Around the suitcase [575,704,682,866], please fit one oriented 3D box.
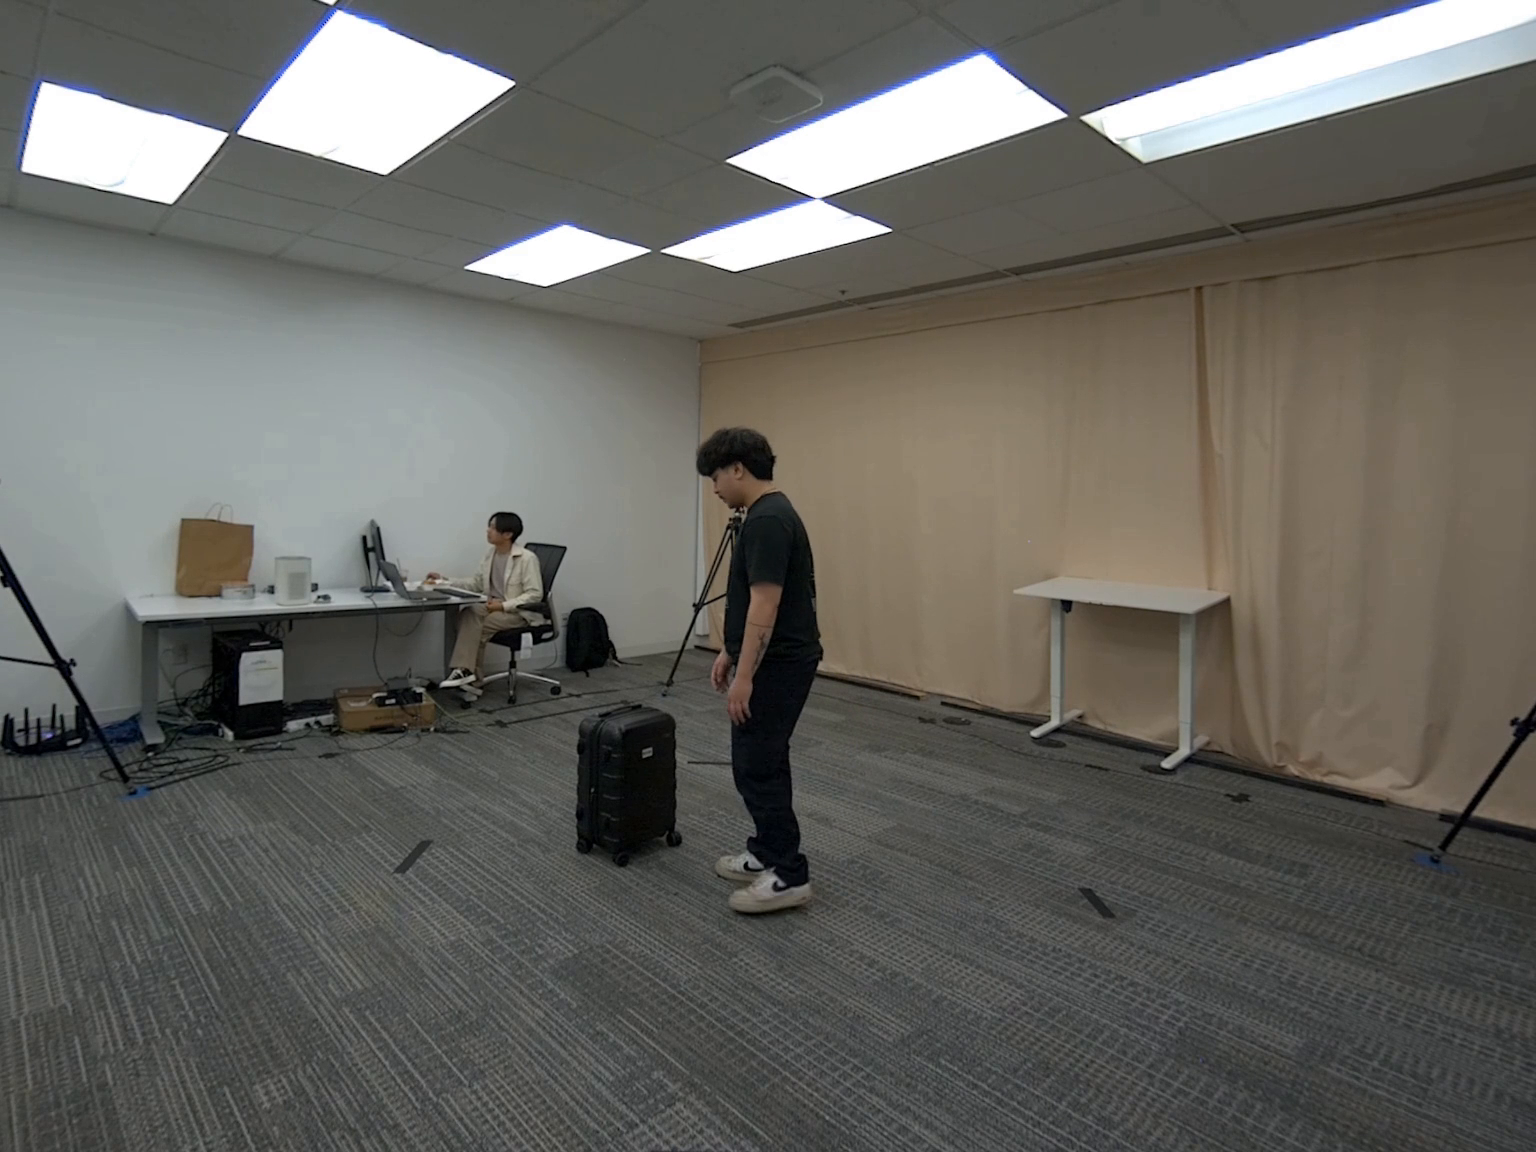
[{"bbox_3d":[-0.561,0.804,3.334,0.254,0.548,0.367,2,3,39],"label":"suitcase"}]
